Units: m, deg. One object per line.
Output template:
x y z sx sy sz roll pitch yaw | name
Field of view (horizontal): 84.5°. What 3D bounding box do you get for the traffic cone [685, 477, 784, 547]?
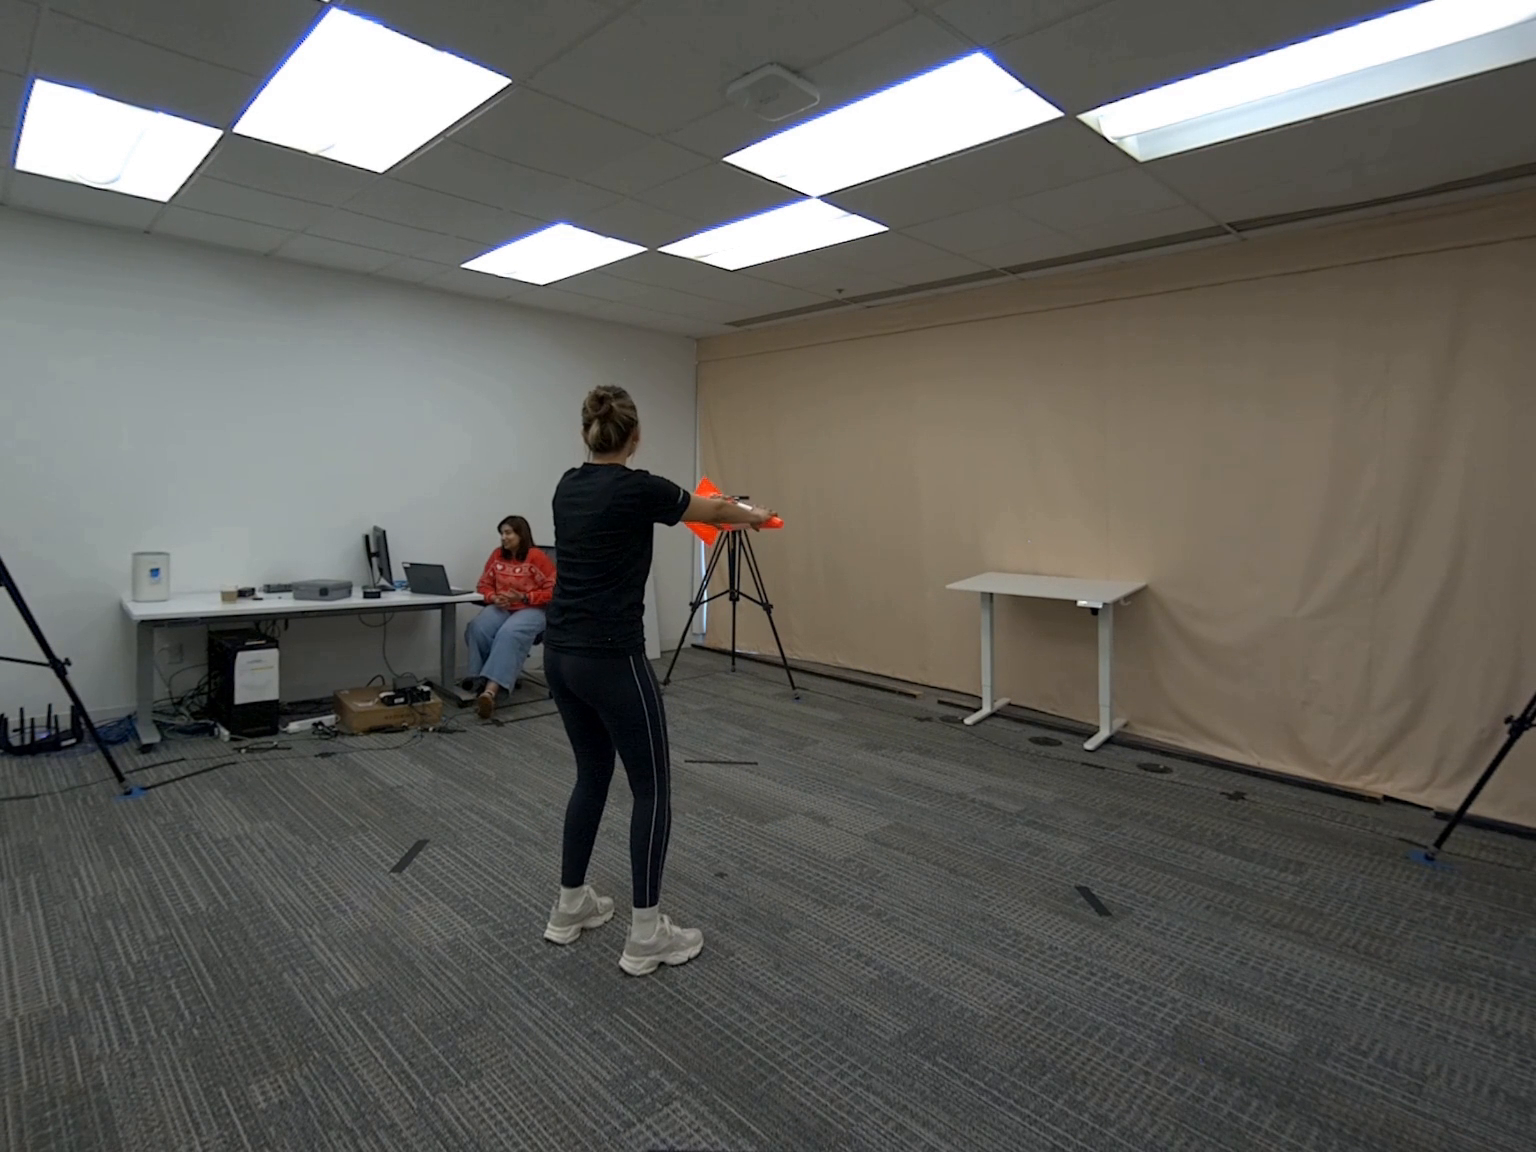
-0.099 -0.207 3.061 0.394 0.206 0.197 12 -22 44 | traffic cone
